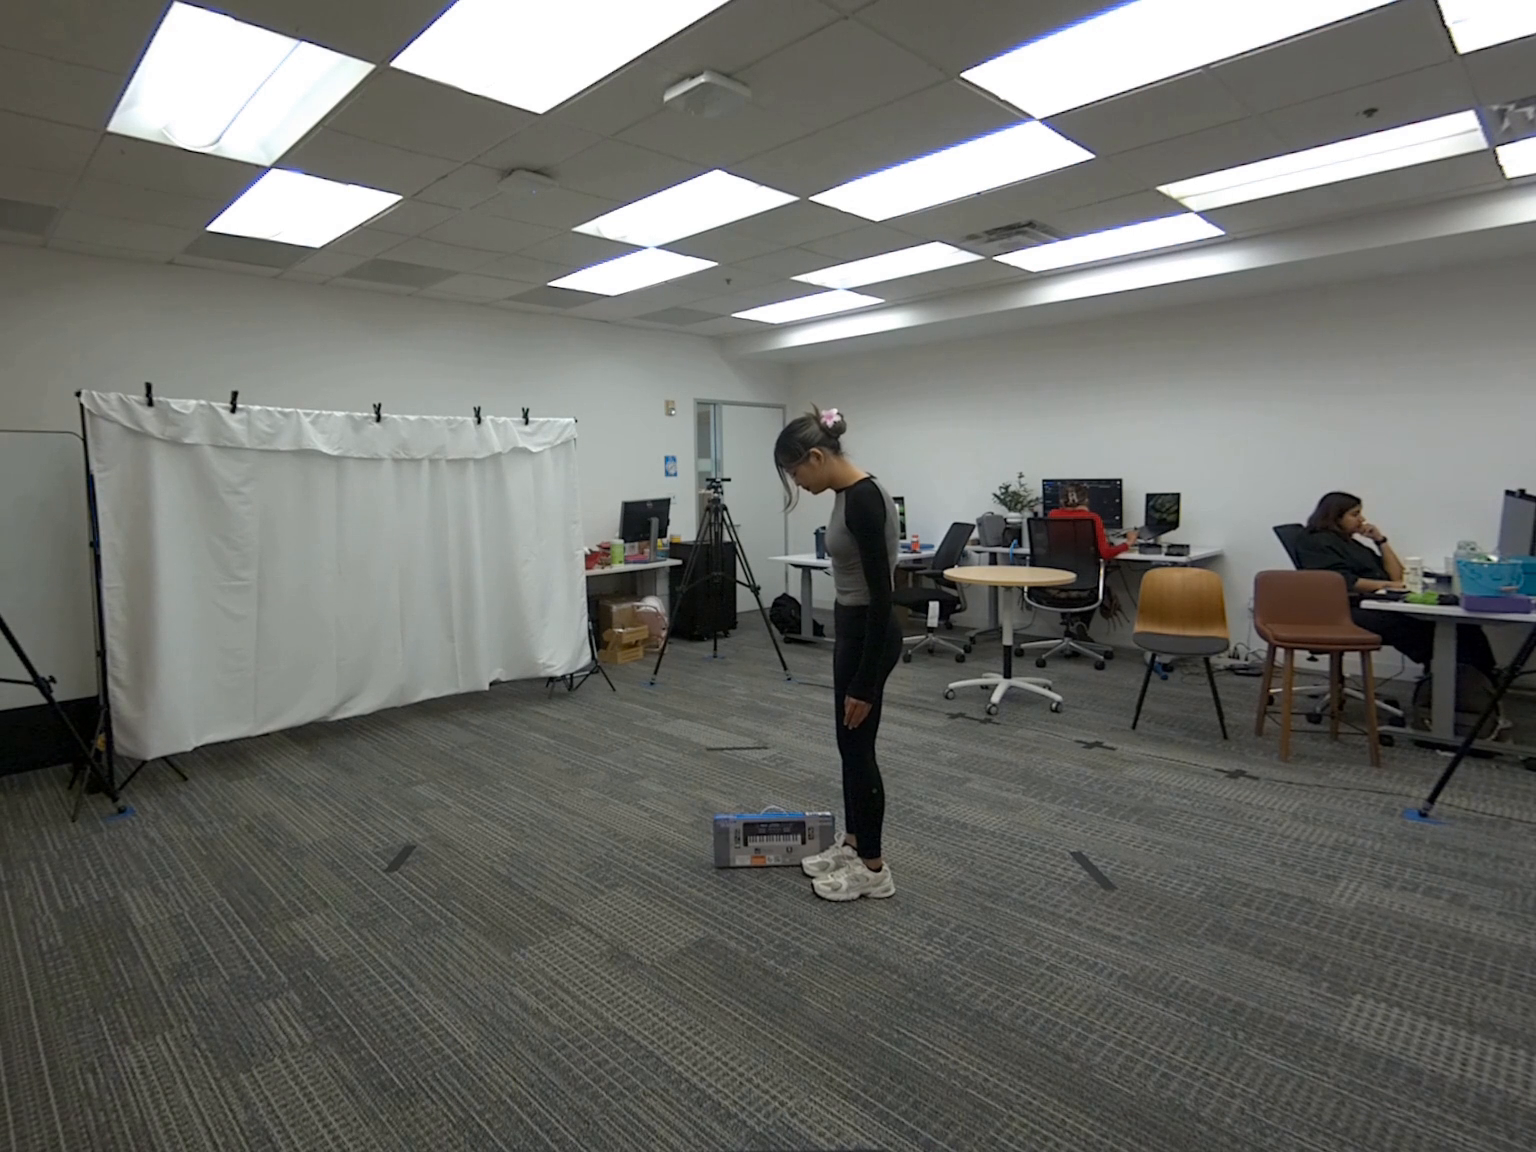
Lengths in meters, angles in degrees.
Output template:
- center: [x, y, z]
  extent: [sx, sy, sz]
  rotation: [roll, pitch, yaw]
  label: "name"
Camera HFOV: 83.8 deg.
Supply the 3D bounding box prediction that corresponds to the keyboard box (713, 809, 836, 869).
- center: [0.026, 0.950, 3.094]
  extent: [0.436, 0.176, 0.059]
  rotation: [0, -2, -1]
  label: "keyboard box"
